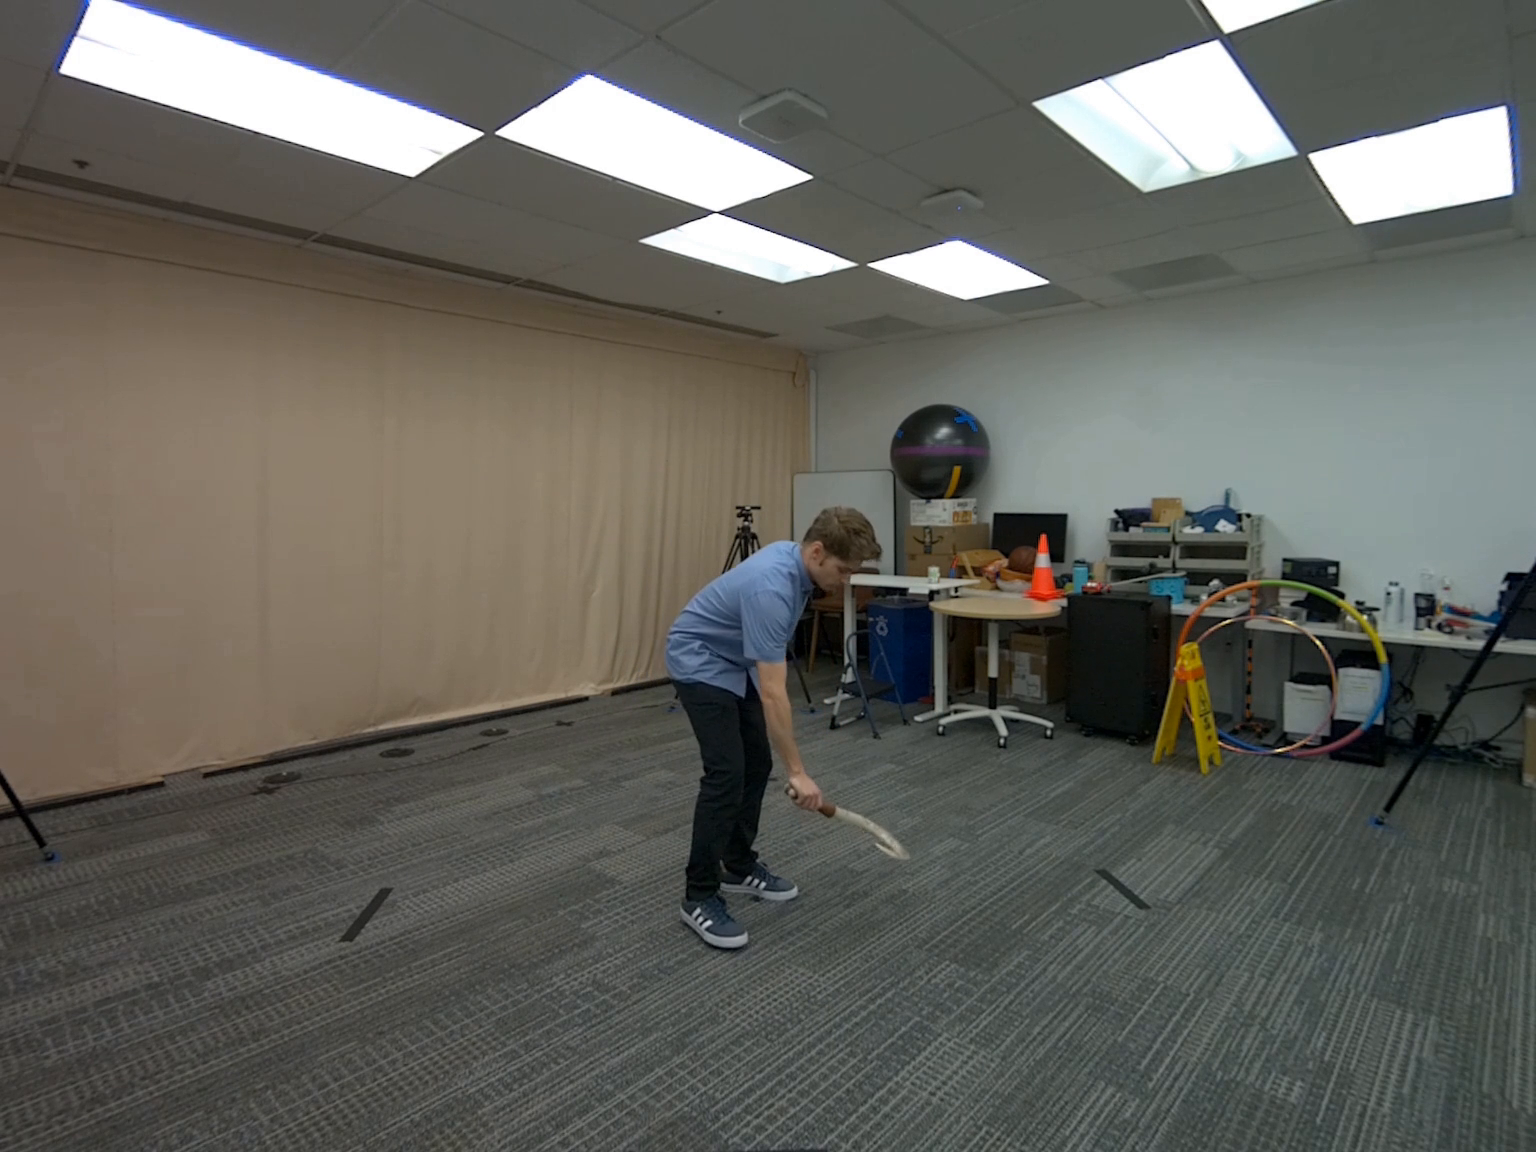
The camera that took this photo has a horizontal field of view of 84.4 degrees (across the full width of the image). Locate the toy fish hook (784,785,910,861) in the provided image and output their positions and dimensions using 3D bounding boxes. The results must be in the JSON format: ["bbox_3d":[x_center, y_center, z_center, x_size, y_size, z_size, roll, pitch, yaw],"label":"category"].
[{"bbox_3d":[0.262,0.807,2.691,0.493,0.048,0.231,31,-2,-24],"label":"toy fish hook"}]
